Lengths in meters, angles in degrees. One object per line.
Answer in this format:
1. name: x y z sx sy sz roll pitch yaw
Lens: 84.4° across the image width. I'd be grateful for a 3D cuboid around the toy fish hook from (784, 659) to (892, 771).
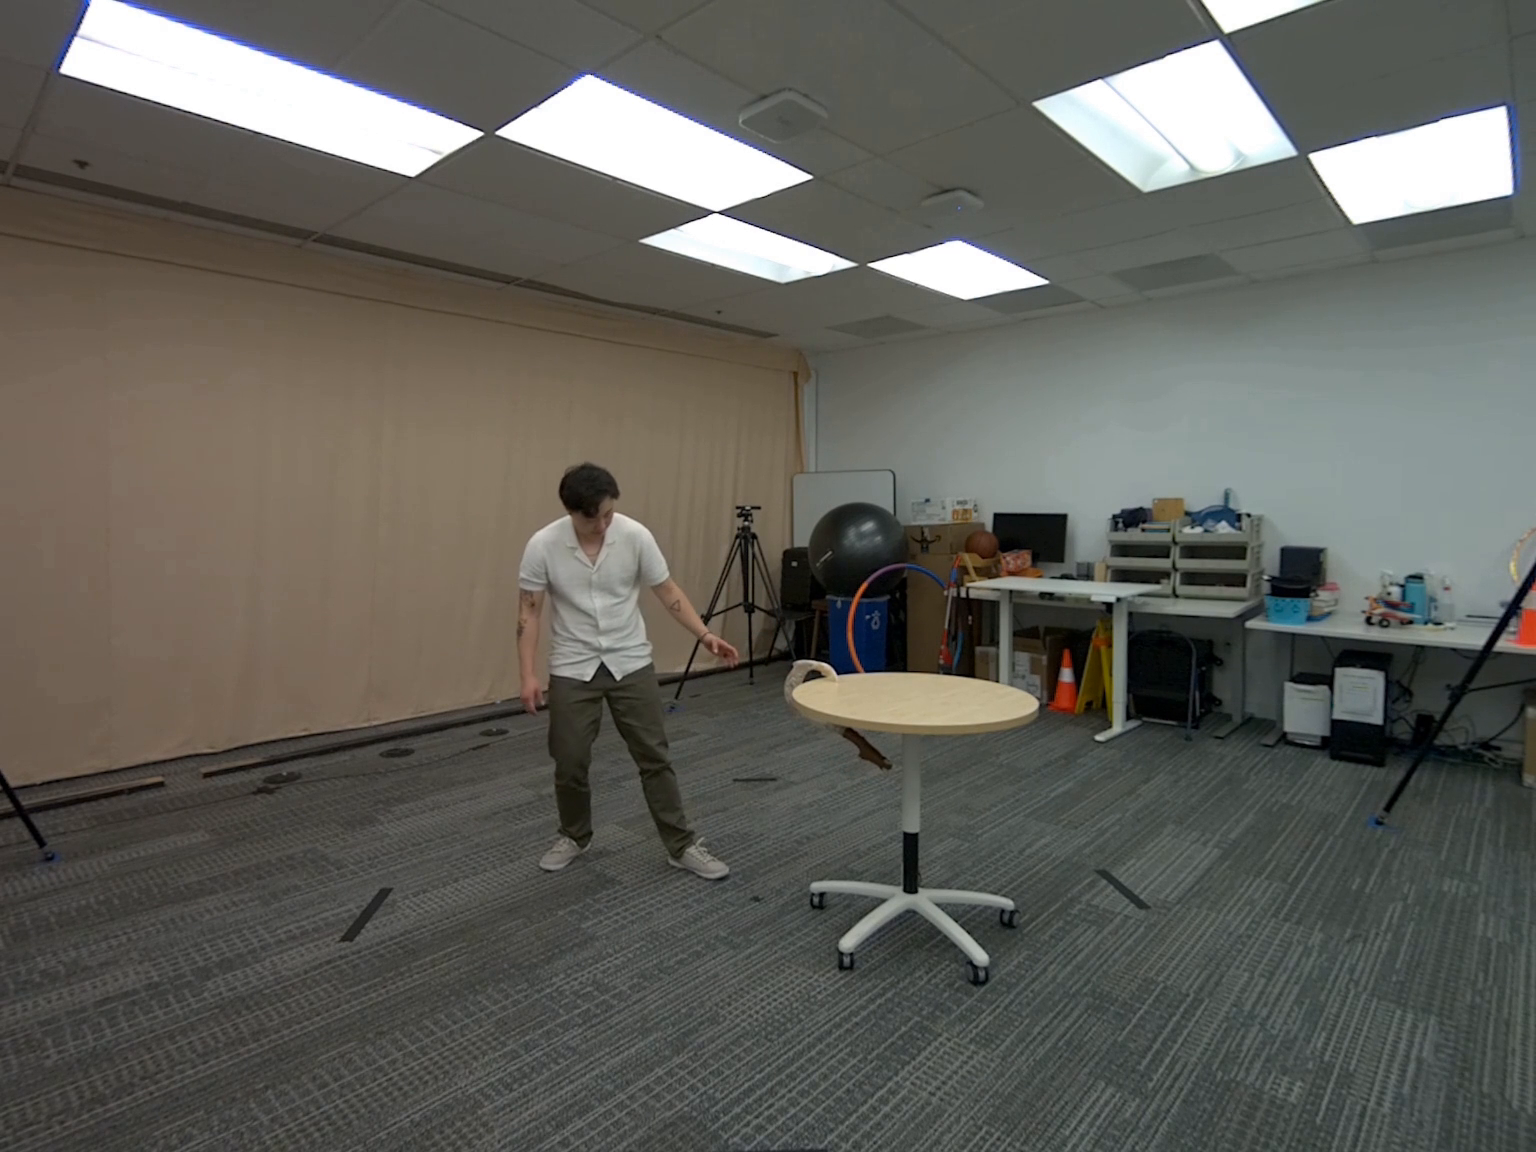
1. toy fish hook: 0.254 0.470 2.905 0.525 0.224 0.047 33 20 37
